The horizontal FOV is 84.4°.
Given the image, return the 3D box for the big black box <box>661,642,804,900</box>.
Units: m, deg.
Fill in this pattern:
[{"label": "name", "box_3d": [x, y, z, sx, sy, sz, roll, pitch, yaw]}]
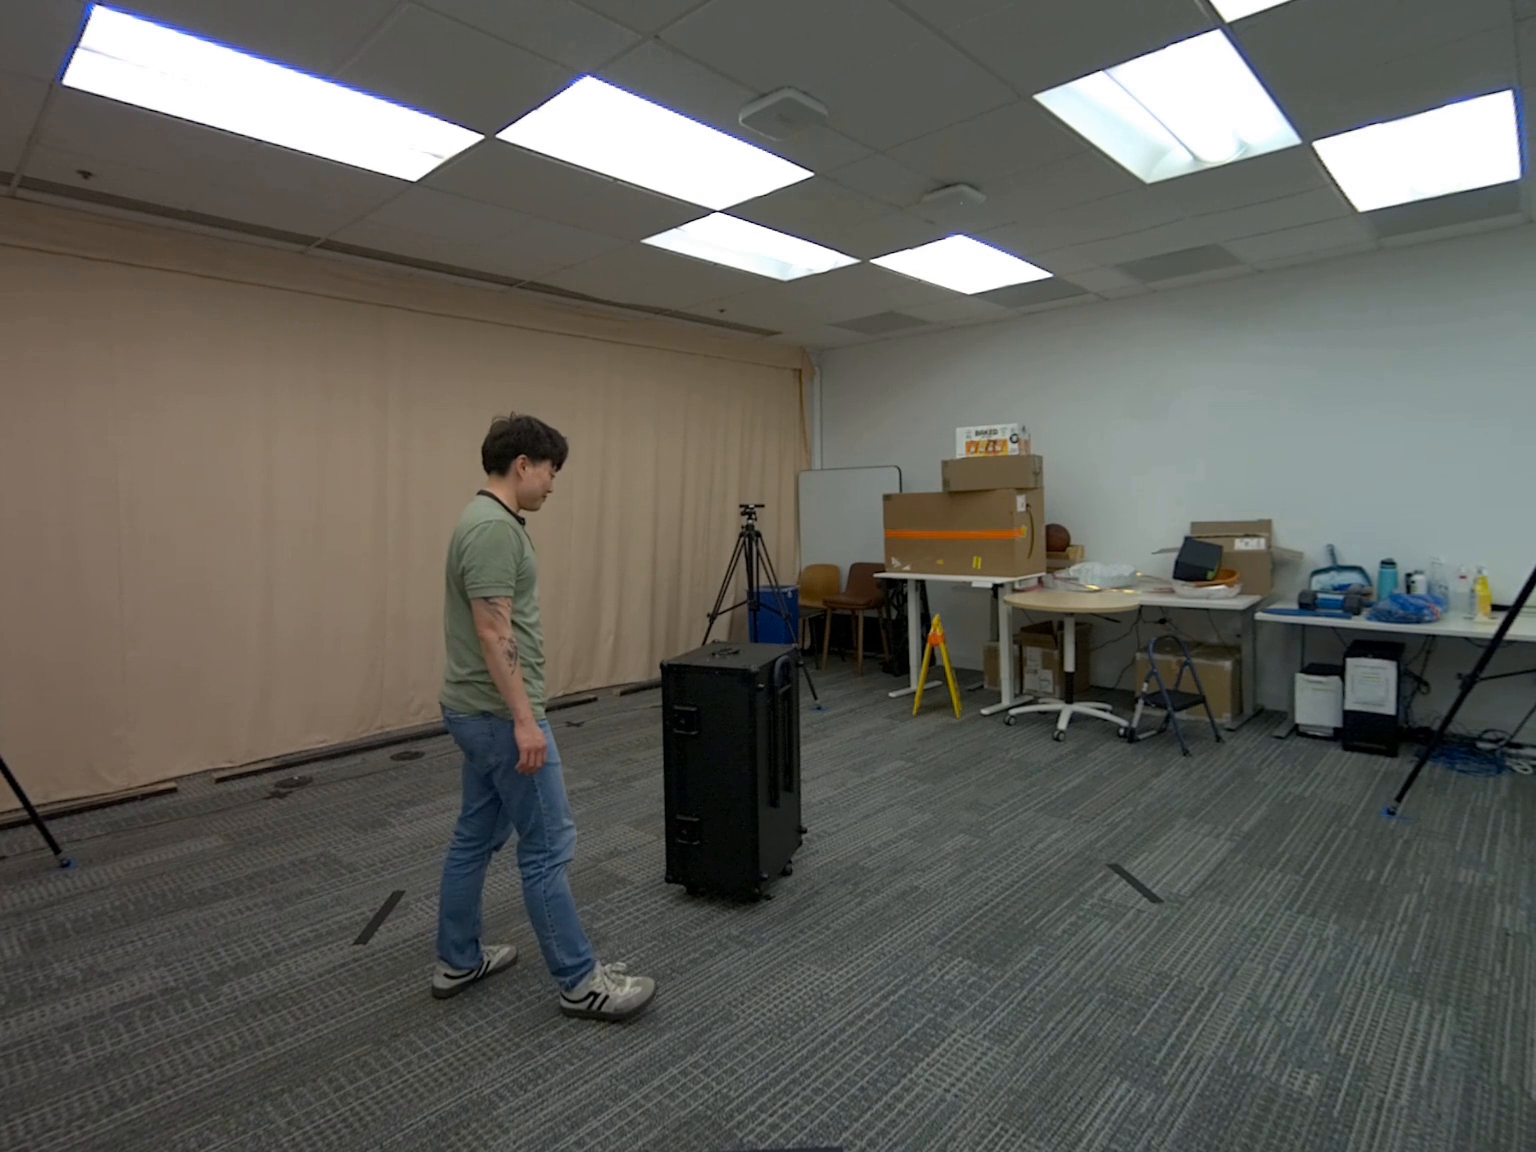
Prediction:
[{"label": "big black box", "box_3d": [-0.104, 0.704, 3.093, 0.405, 0.859, 0.510, 1, 4, 21]}]
